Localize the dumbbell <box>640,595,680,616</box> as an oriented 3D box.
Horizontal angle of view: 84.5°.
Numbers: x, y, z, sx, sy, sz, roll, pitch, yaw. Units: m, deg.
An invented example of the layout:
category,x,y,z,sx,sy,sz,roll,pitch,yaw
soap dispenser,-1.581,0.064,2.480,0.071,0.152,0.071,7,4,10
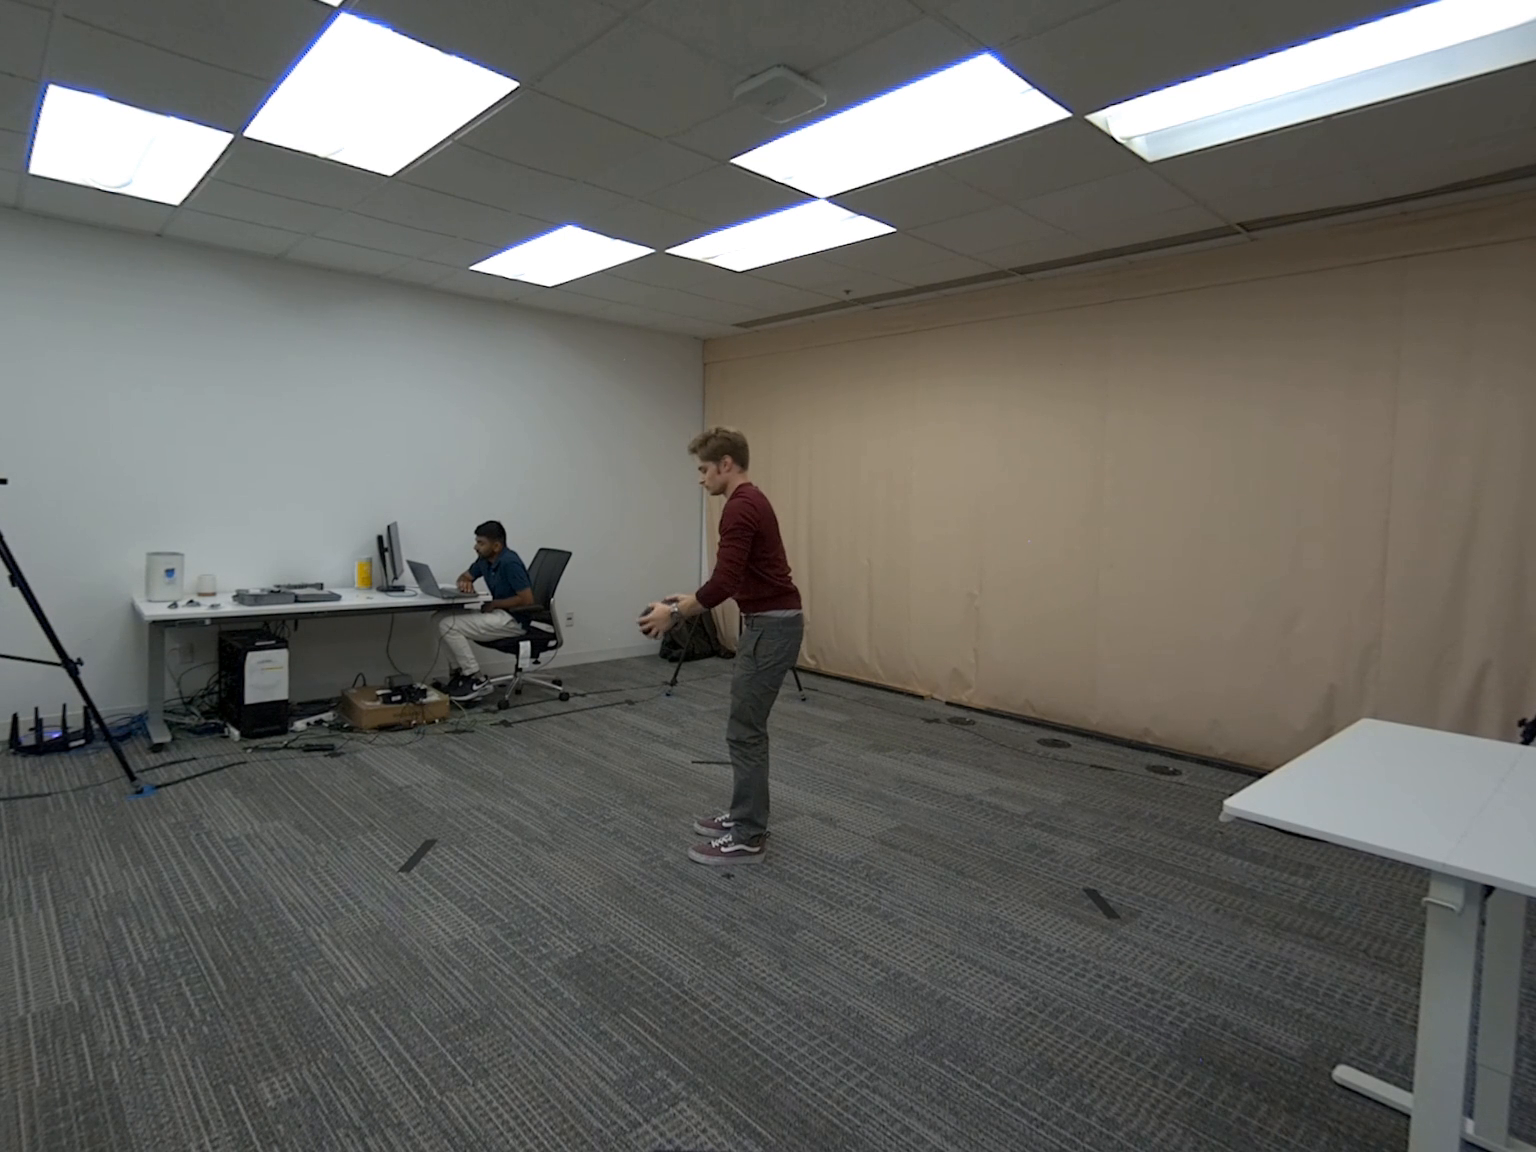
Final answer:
category,x,y,z,sx,sy,sz,roll,pitch,yaw
dumbbell,-0.411,0.162,3.364,0.124,0.108,0.292,6,6,9
